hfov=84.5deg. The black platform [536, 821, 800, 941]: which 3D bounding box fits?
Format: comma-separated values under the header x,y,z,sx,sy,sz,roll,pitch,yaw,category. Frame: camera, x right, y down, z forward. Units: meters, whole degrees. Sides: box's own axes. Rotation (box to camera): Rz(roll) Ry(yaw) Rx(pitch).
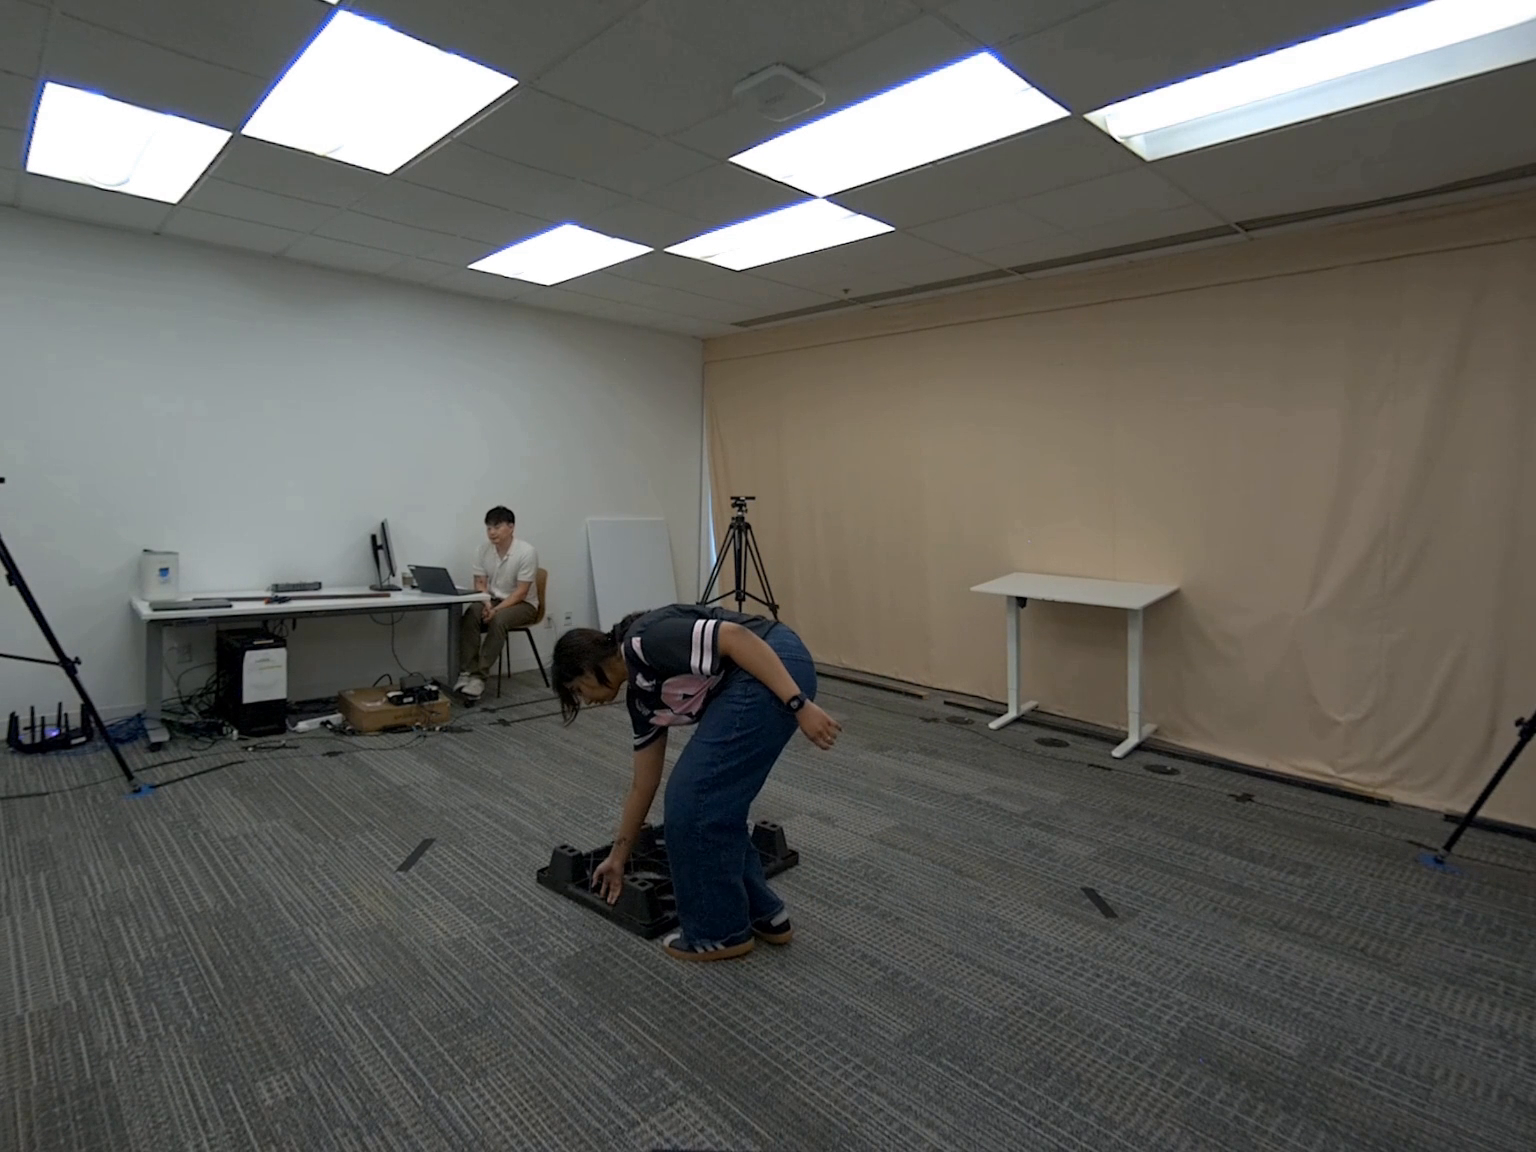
x,y,z,sx,sy,sz,roll,pitch,yaw,category
-0.361,1.030,3.120,0.620,0.143,0.787,6,7,39,black platform
